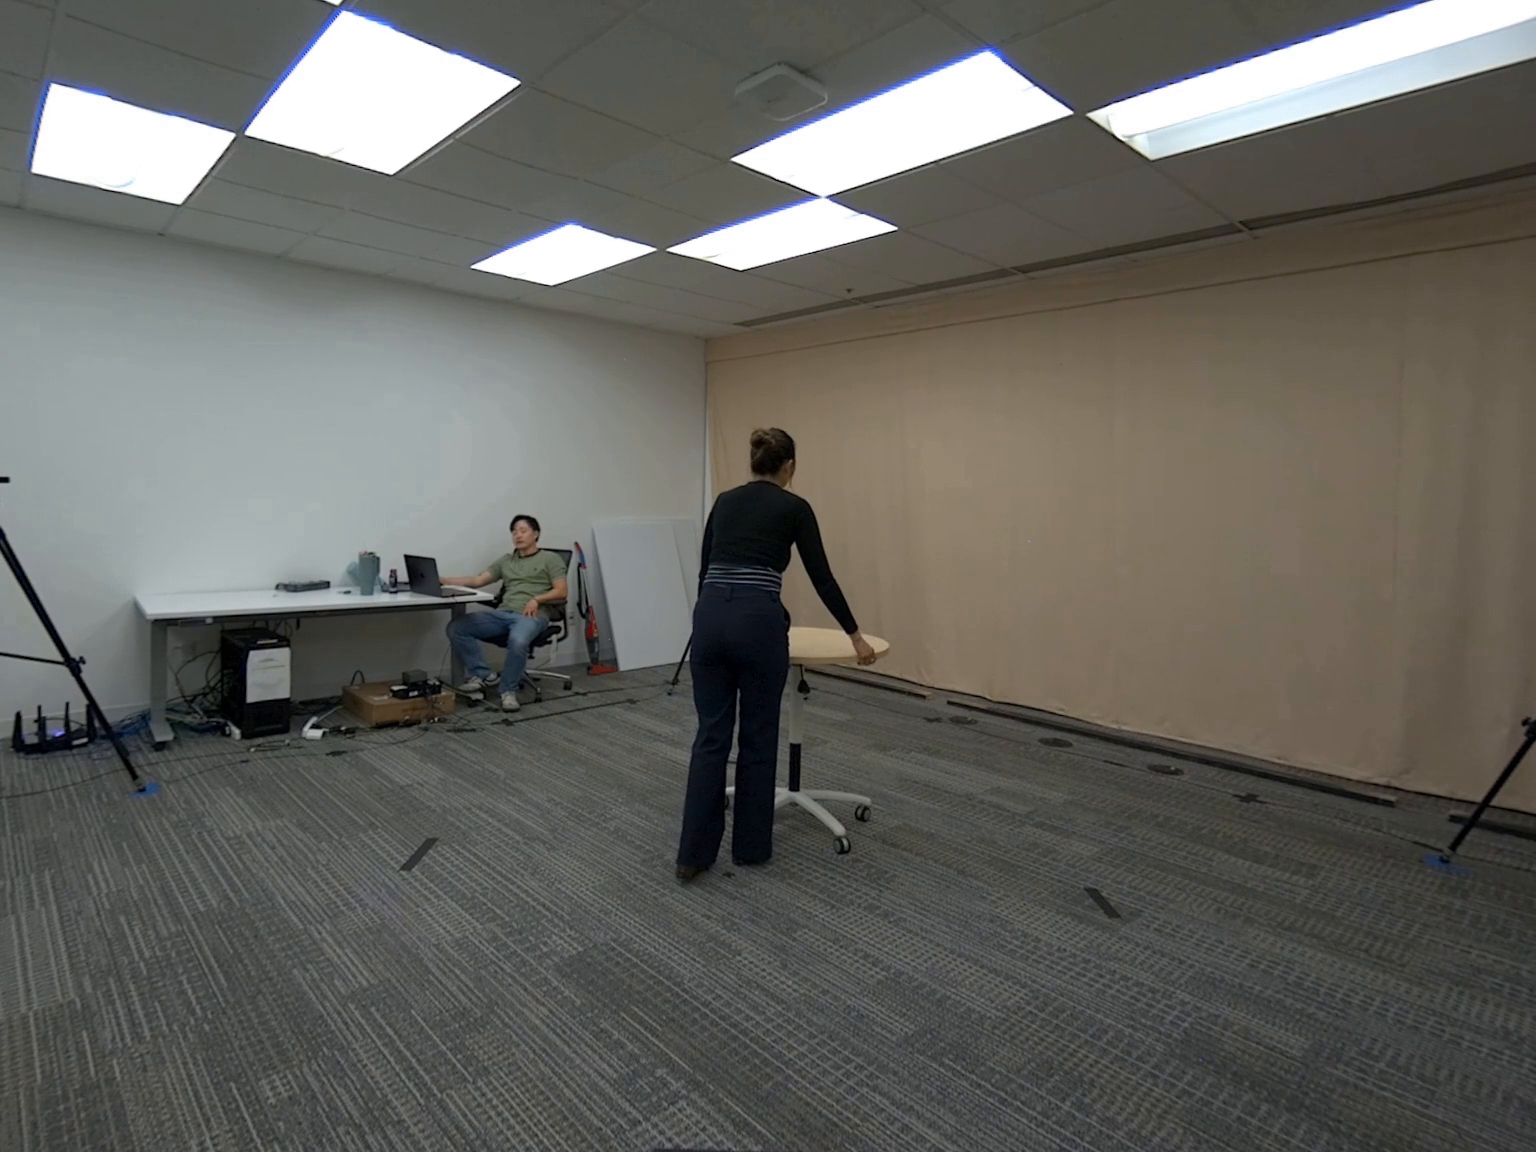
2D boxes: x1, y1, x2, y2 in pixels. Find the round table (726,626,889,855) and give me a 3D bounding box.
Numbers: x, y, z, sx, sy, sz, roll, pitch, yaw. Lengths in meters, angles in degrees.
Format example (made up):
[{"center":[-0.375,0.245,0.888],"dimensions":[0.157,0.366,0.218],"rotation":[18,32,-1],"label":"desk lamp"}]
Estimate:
[{"center":[0.111,0.674,3.616],"dimensions":[0.763,0.792,0.767],"rotation":[2,4,-1],"label":"round table"}]
